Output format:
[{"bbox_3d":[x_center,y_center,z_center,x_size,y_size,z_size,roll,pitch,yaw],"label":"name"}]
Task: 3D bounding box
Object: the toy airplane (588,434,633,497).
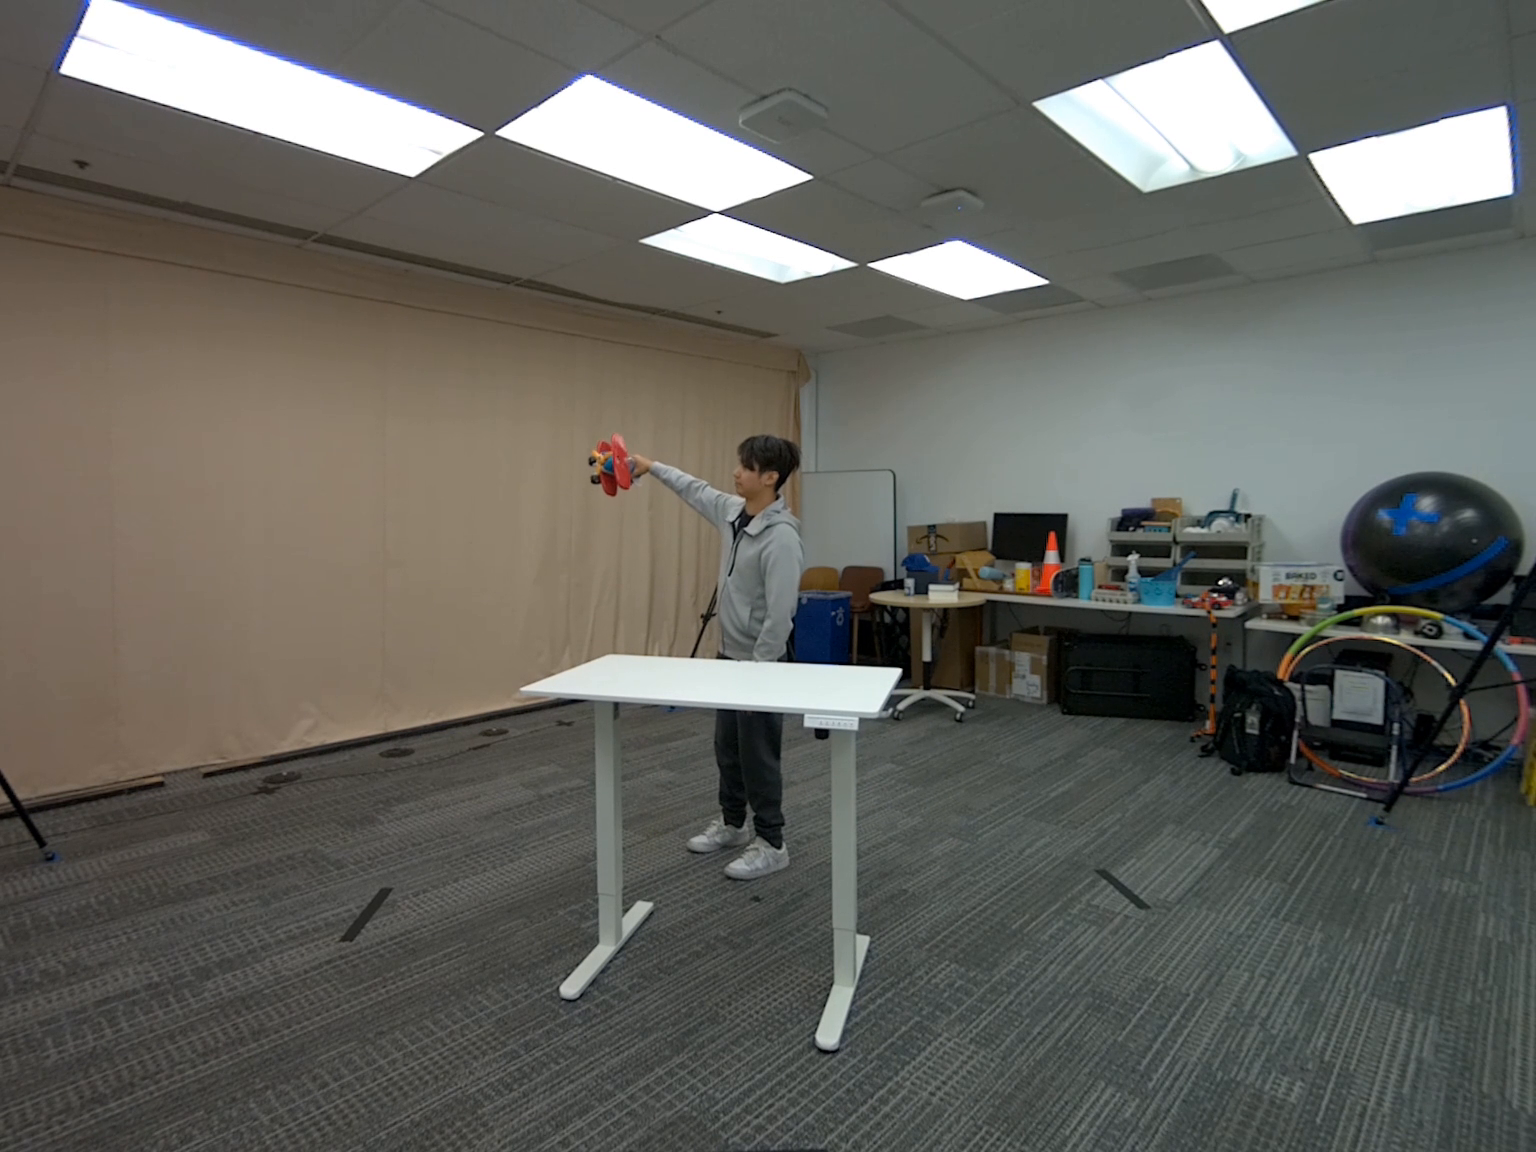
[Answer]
[{"bbox_3d":[-0.638,-0.471,3.596,0.159,0.251,0.254,-30,1,44],"label":"toy airplane"}]
